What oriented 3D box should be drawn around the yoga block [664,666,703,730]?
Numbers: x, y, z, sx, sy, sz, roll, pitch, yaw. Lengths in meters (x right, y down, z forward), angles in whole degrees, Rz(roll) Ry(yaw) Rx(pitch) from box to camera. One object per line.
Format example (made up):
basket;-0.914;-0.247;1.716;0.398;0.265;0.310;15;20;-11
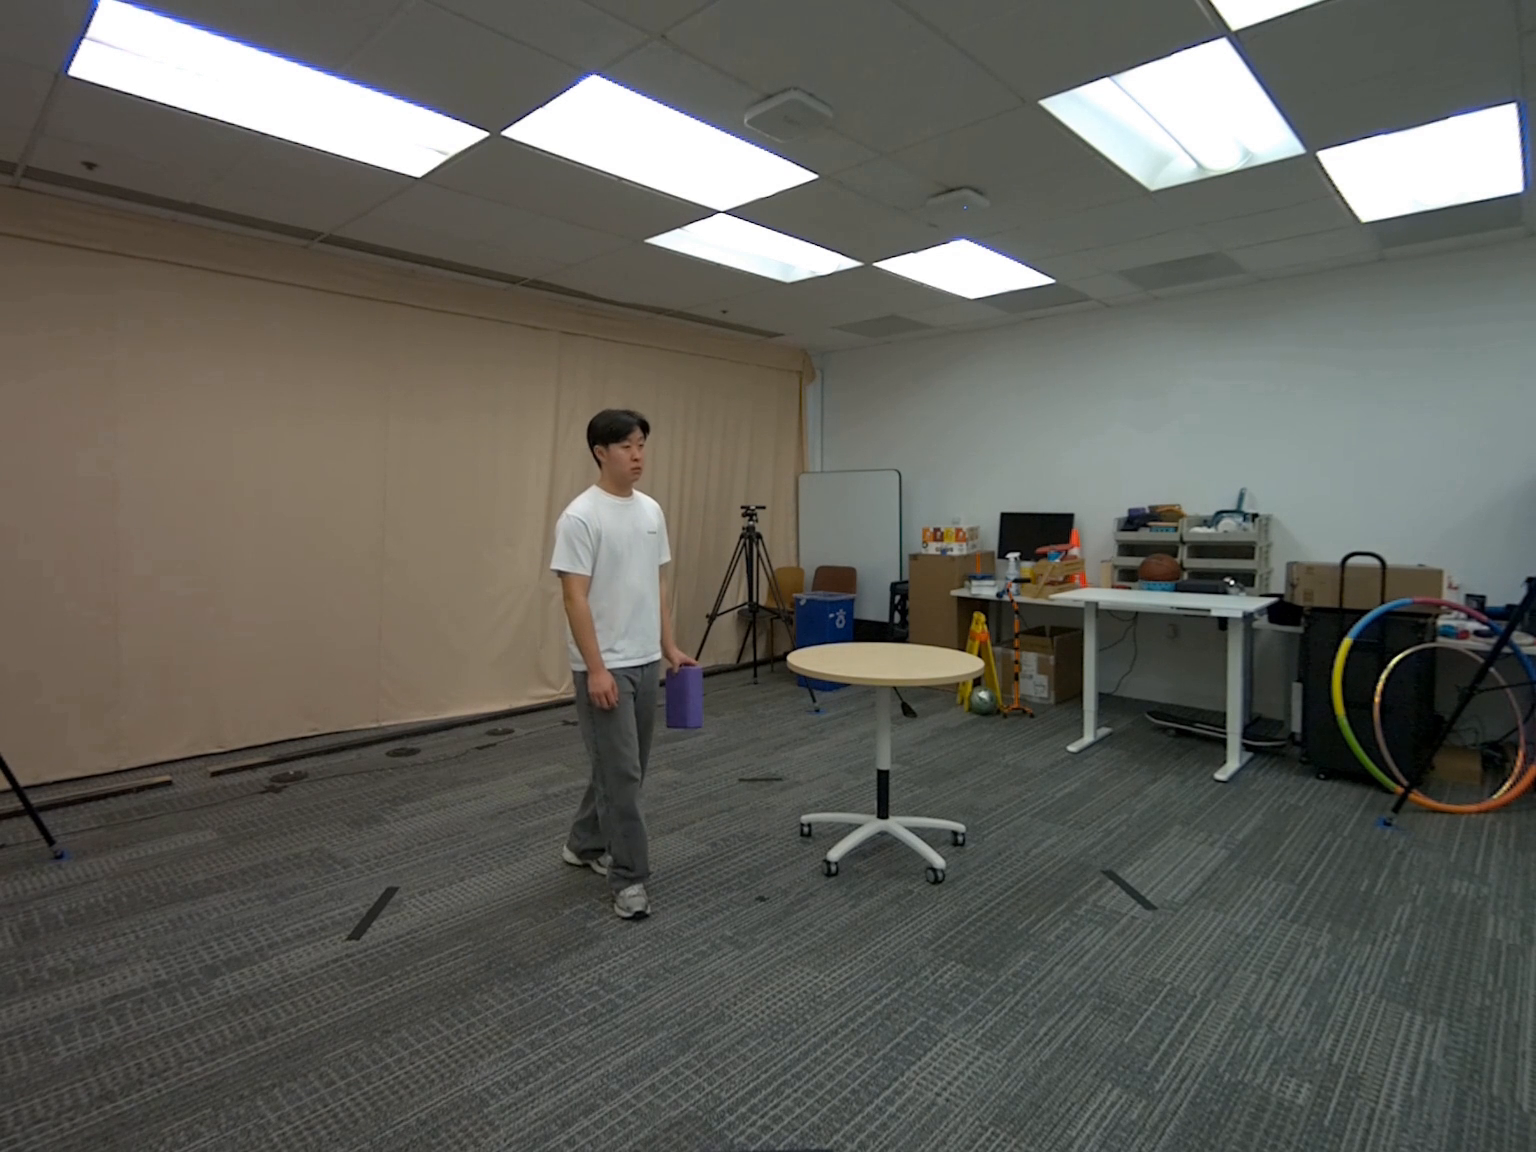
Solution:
yoga block;-0.299;0.466;3.205;0.074;0.230;0.153;4;-9;-42
